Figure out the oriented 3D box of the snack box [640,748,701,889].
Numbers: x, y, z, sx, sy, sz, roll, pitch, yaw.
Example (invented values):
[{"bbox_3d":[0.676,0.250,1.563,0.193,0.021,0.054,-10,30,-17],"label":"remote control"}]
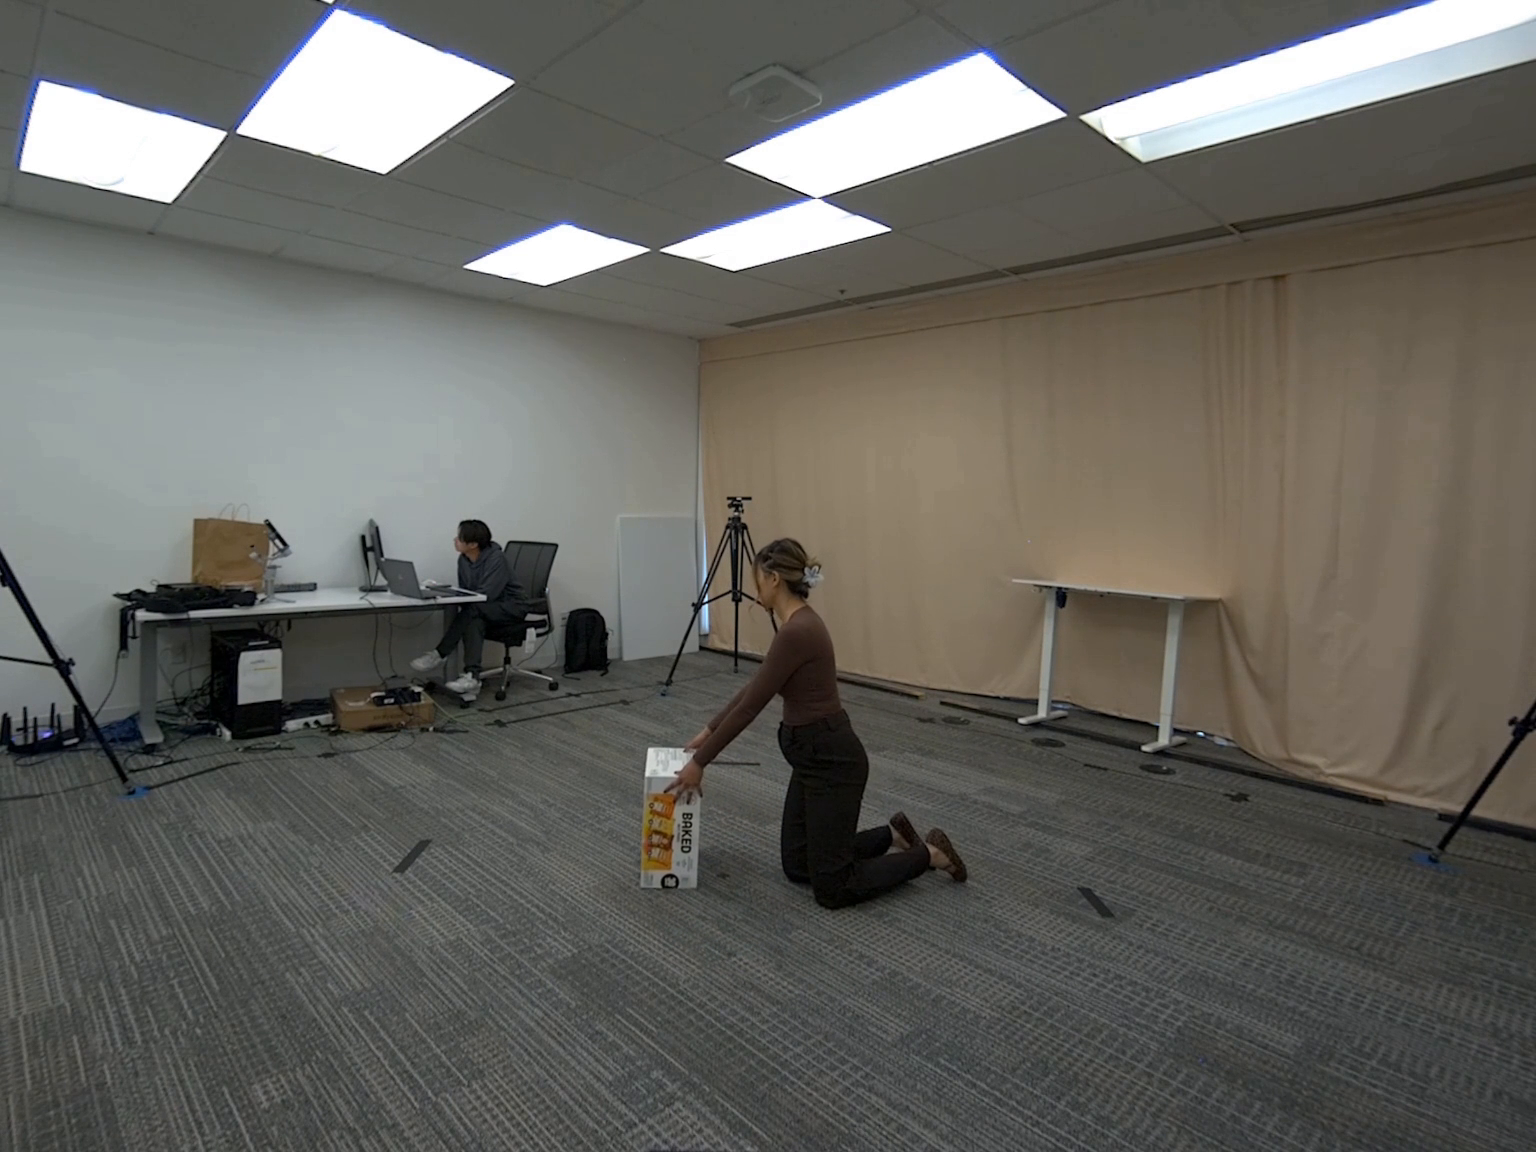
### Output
[{"bbox_3d":[-0.365,0.890,3.148,0.205,0.404,0.343,2,4,-6],"label":"snack box"}]
